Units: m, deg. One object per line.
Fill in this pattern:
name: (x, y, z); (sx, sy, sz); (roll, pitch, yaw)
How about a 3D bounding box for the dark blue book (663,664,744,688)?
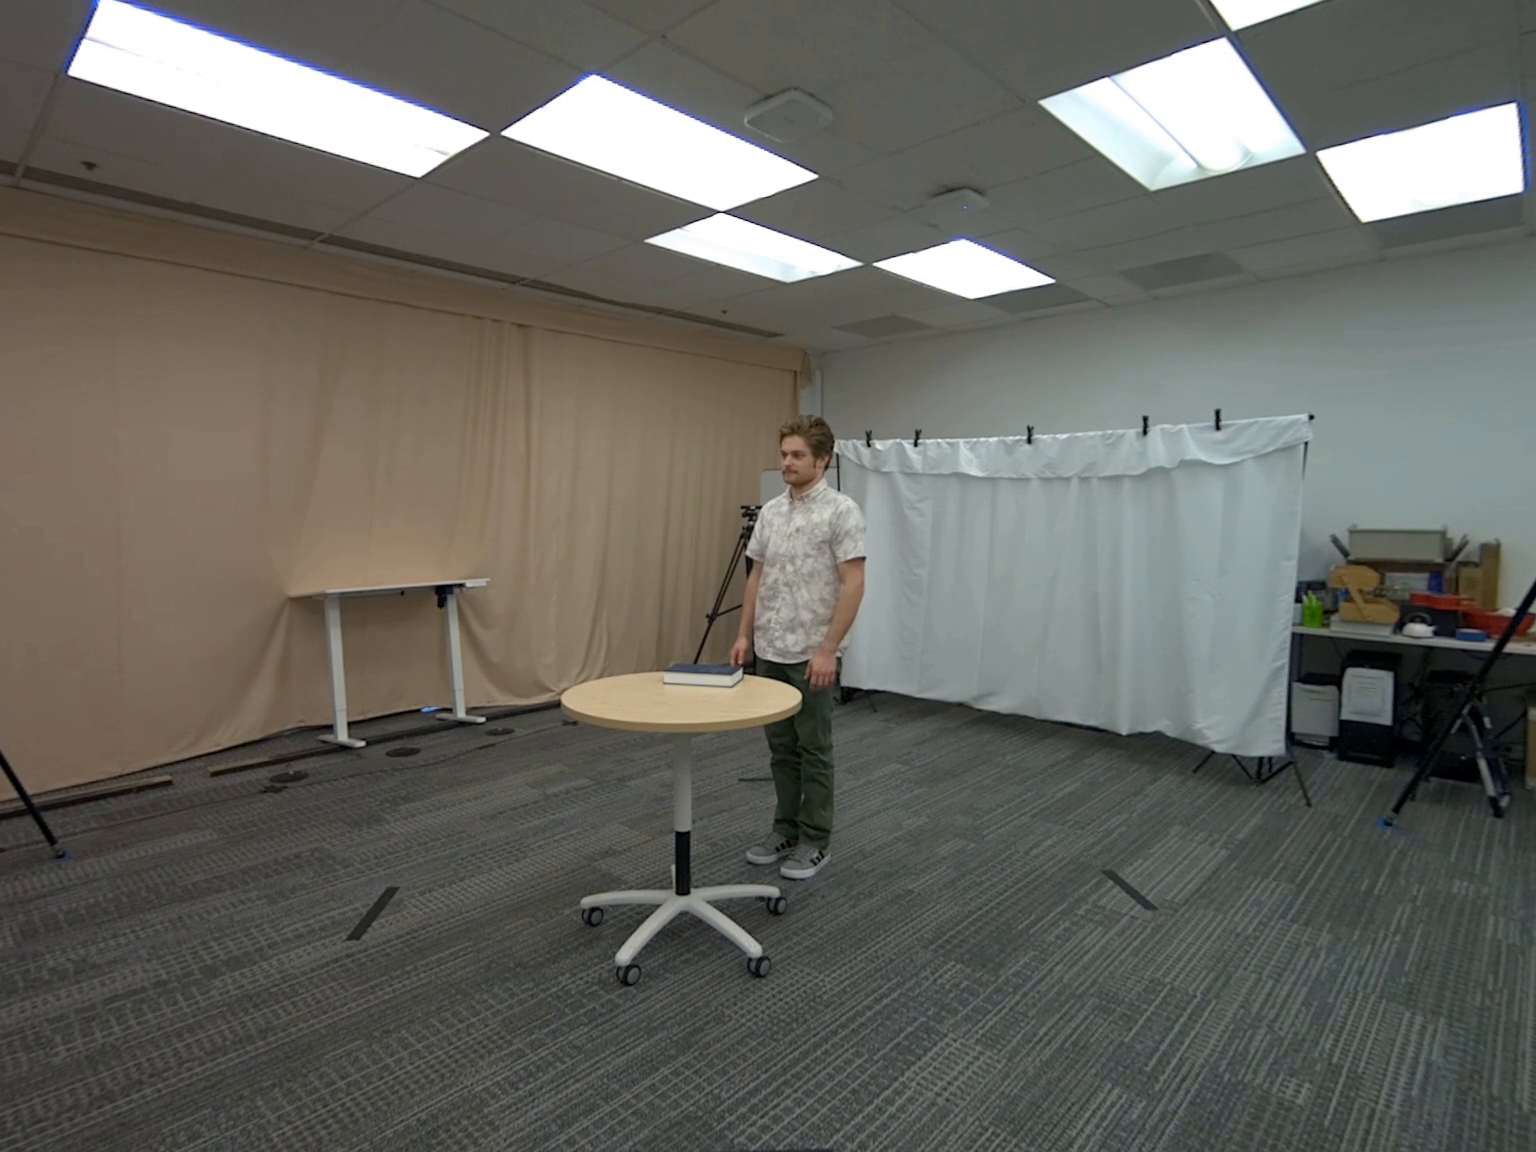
dark blue book: (-0.219, 0.340, 2.903); (0.249, 0.045, 0.161); (1, 5, 15)
